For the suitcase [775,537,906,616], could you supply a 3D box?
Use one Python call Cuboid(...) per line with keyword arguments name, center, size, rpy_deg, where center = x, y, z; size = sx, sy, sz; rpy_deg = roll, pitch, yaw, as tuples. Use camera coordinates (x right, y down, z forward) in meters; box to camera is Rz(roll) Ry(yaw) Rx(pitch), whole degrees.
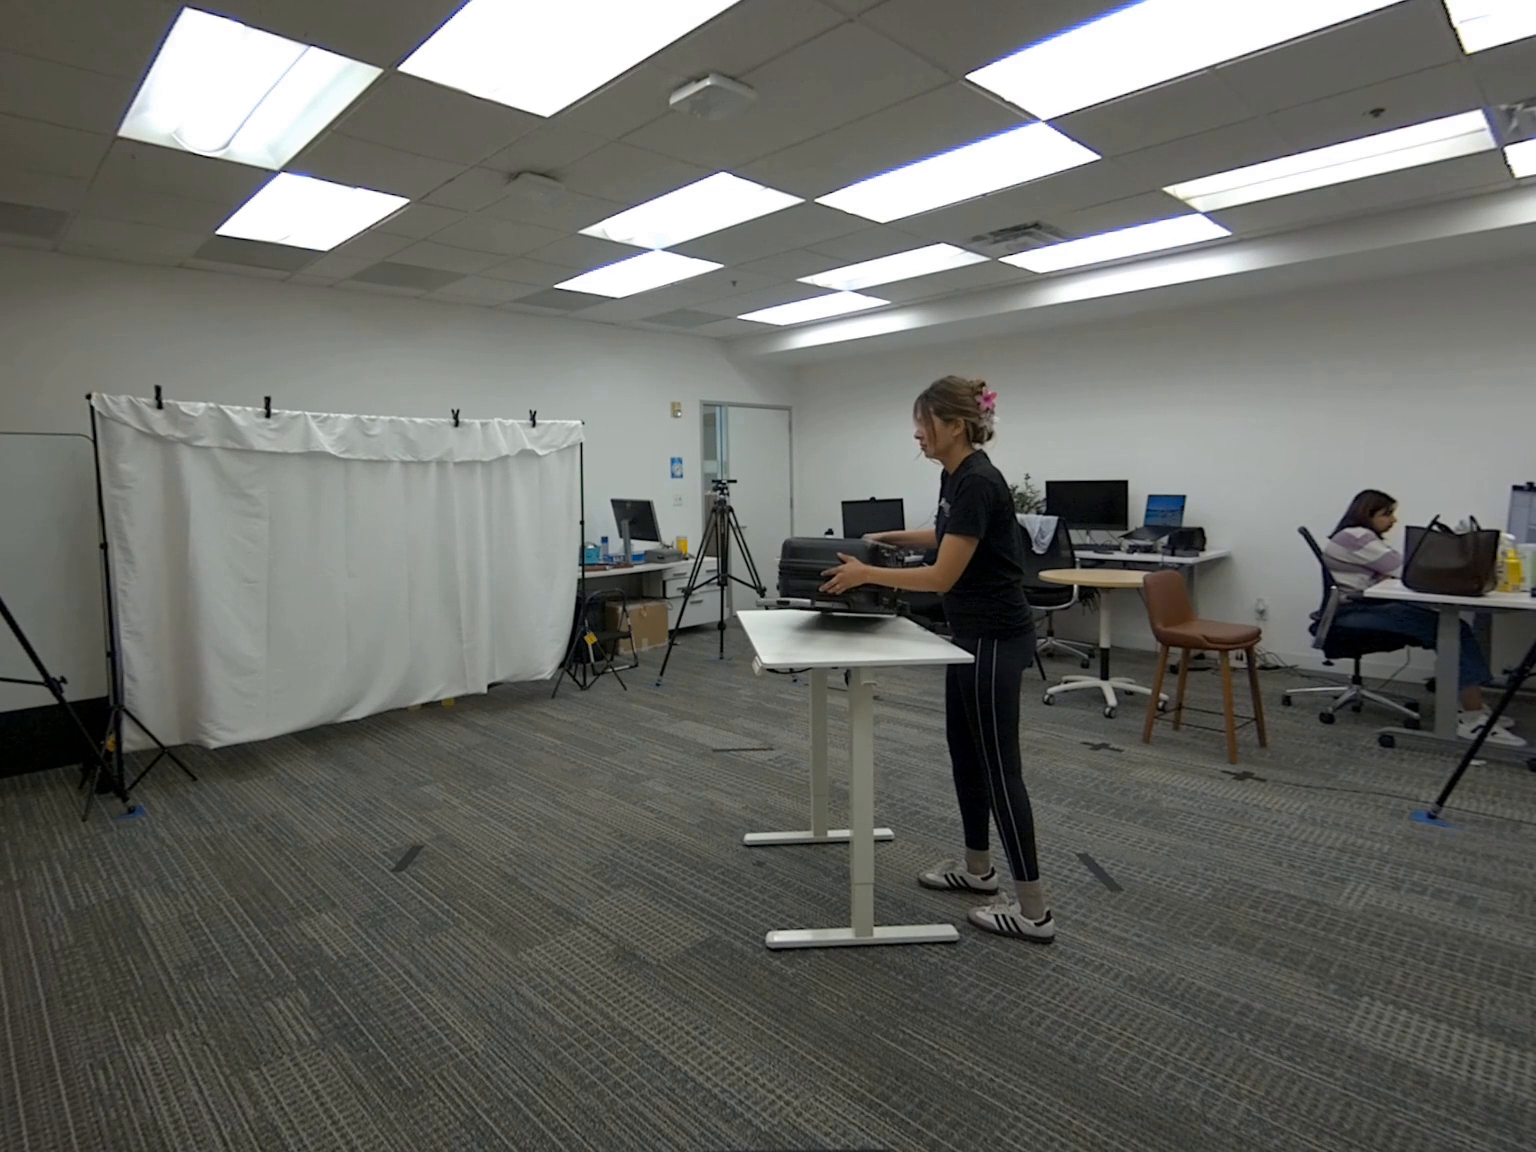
Cuboid(name="suitcase", center=(0.199, -0.006, 2.843), size=(0.392, 0.257, 0.956), rpy_deg=(4, -1, 21))
